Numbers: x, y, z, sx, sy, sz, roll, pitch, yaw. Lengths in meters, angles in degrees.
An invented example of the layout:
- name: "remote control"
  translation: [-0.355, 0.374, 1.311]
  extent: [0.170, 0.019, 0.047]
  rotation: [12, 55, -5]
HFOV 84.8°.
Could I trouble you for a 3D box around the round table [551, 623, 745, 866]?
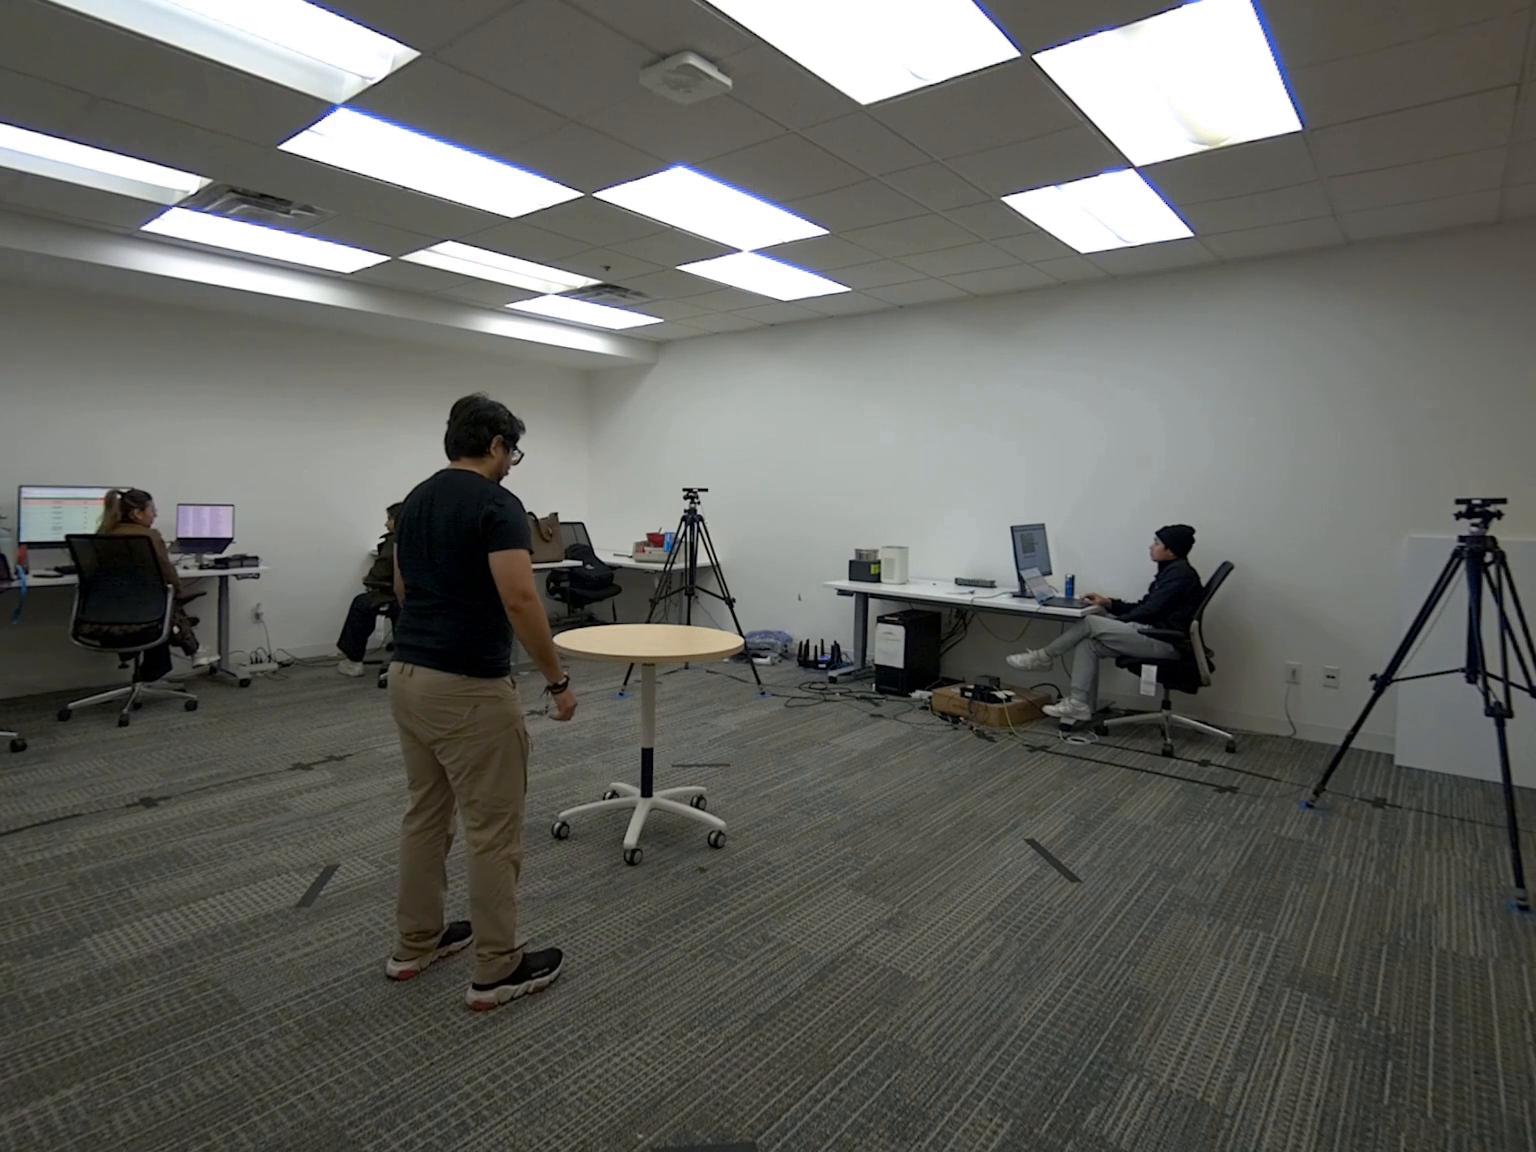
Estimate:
- name: "round table"
  translation: [-0.501, 0.639, 3.427]
  extent: [0.784, 0.784, 0.788]
  rotation: [1, 4, -2]
